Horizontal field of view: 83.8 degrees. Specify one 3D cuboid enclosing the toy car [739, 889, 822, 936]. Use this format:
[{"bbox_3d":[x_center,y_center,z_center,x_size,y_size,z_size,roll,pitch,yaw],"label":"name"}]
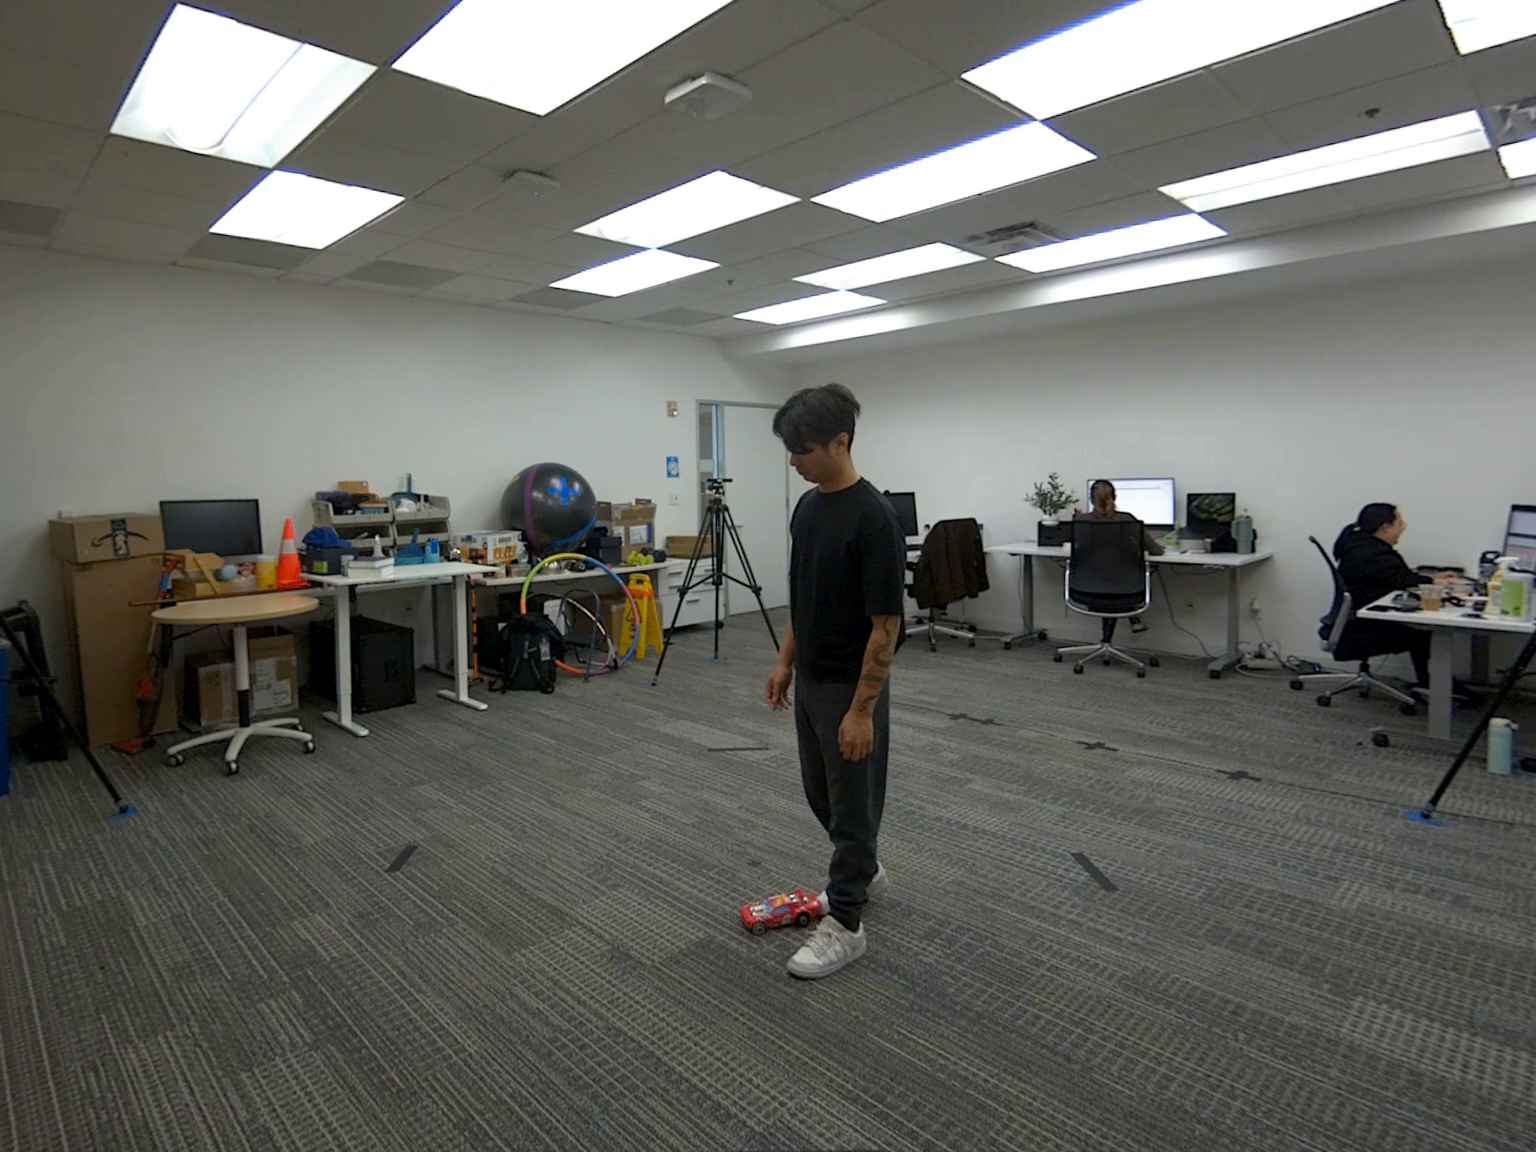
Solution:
[{"bbox_3d":[0.042,1.061,2.686,0.252,0.082,0.133,-15,11,-15],"label":"toy car"}]
